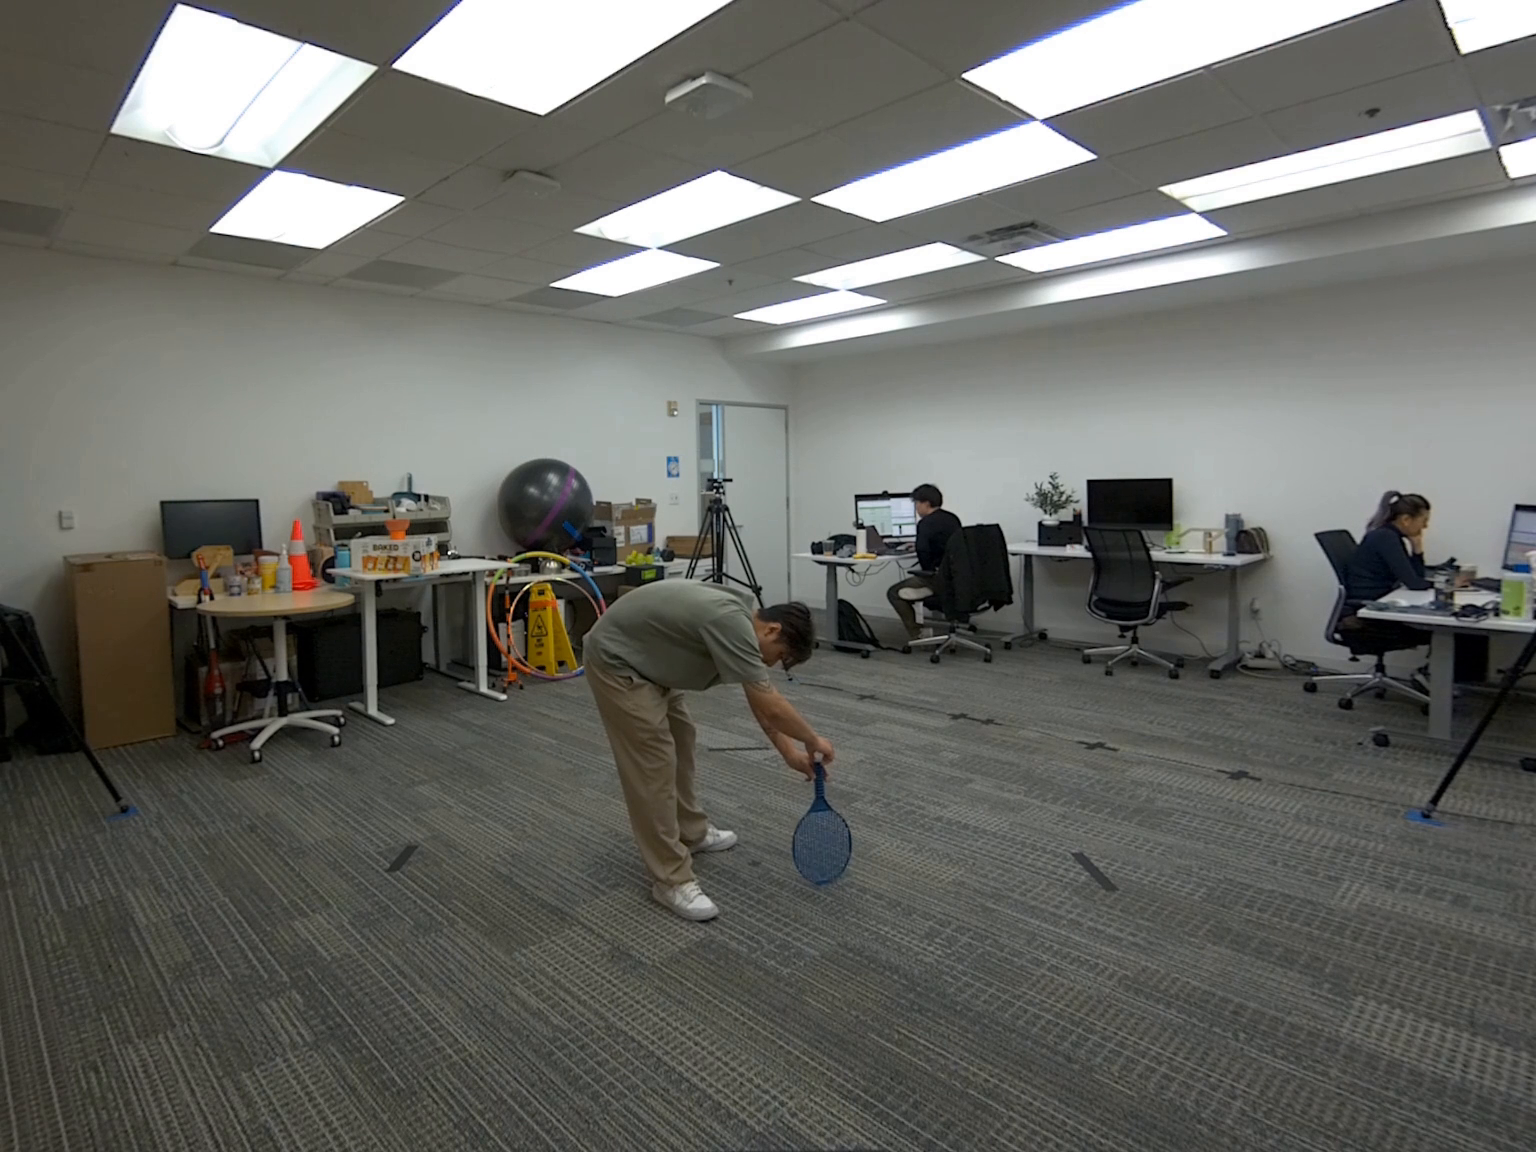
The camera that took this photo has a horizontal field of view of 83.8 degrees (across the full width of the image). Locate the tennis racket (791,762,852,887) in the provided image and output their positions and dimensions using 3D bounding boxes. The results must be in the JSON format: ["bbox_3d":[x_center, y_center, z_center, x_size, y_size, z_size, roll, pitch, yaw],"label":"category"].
[{"bbox_3d":[0.188,0.846,2.924,0.212,0.431,0.032,-2,4,-9],"label":"tennis racket"}]
